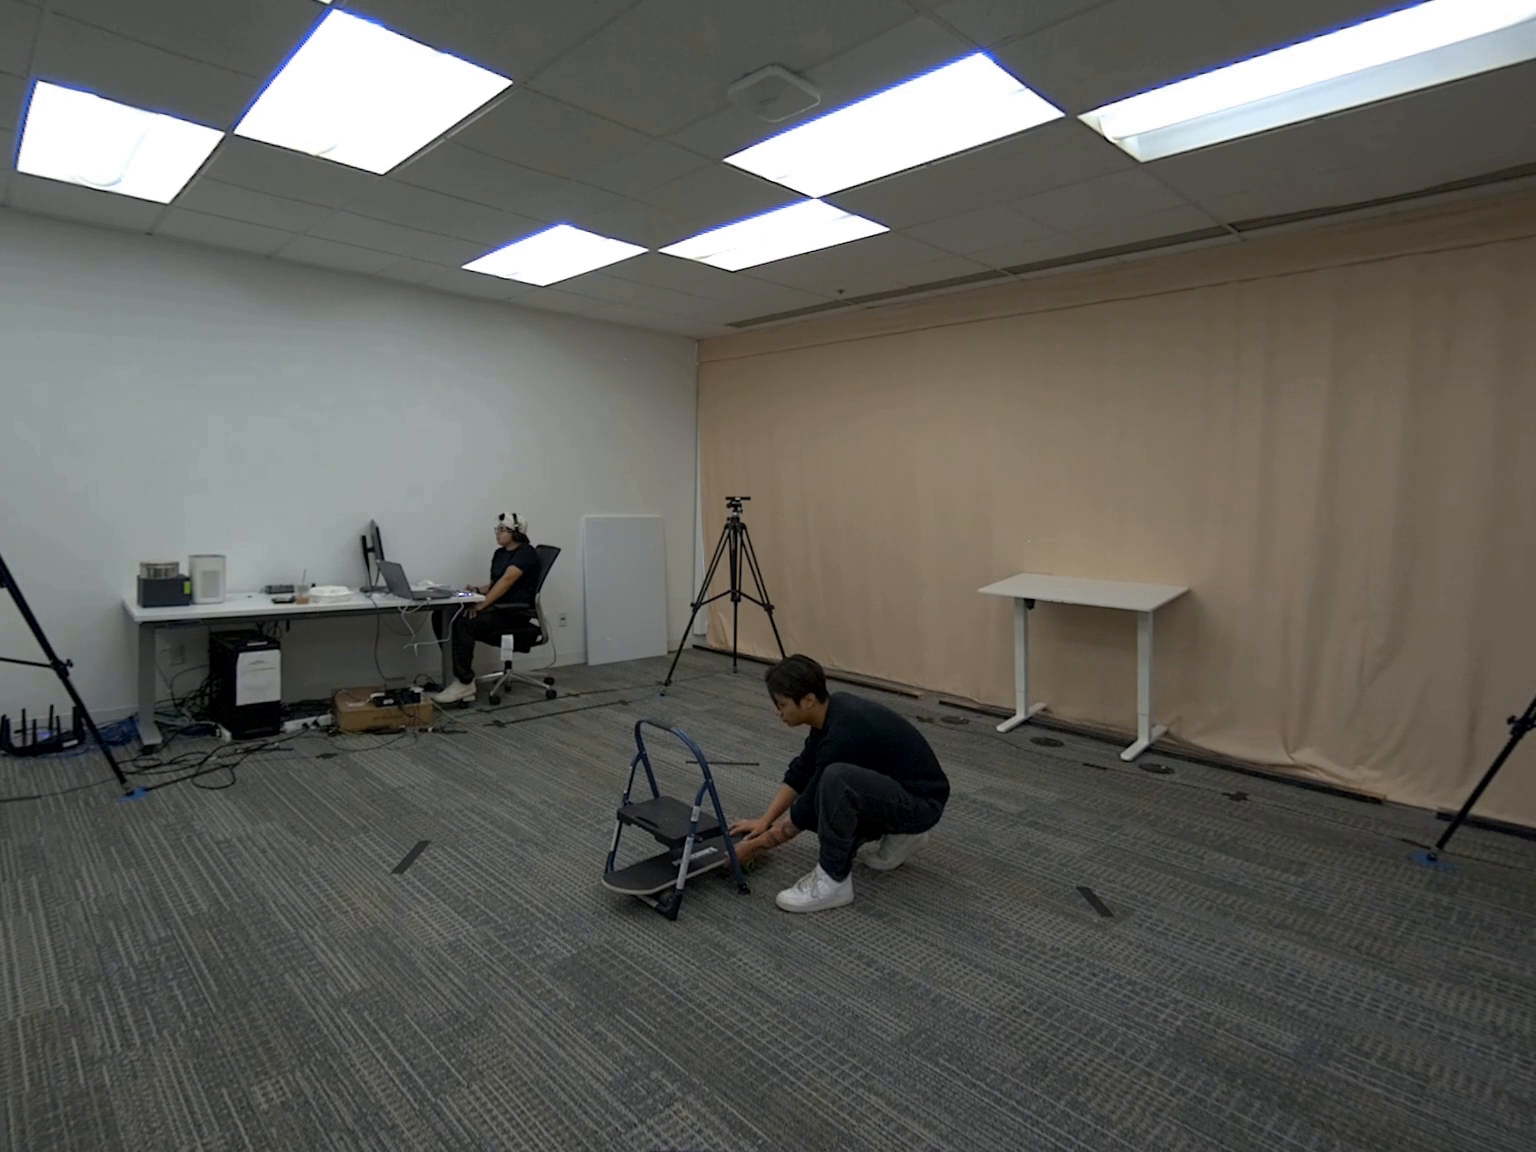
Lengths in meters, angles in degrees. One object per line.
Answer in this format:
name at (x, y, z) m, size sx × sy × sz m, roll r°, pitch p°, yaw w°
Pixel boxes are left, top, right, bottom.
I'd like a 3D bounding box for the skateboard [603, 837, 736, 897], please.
skateboard at (-0.259, 1.044, 3.054) m, size 0.198 × 0.110 × 0.768 m, roll 6°, pitch 8°, yaw 43°
